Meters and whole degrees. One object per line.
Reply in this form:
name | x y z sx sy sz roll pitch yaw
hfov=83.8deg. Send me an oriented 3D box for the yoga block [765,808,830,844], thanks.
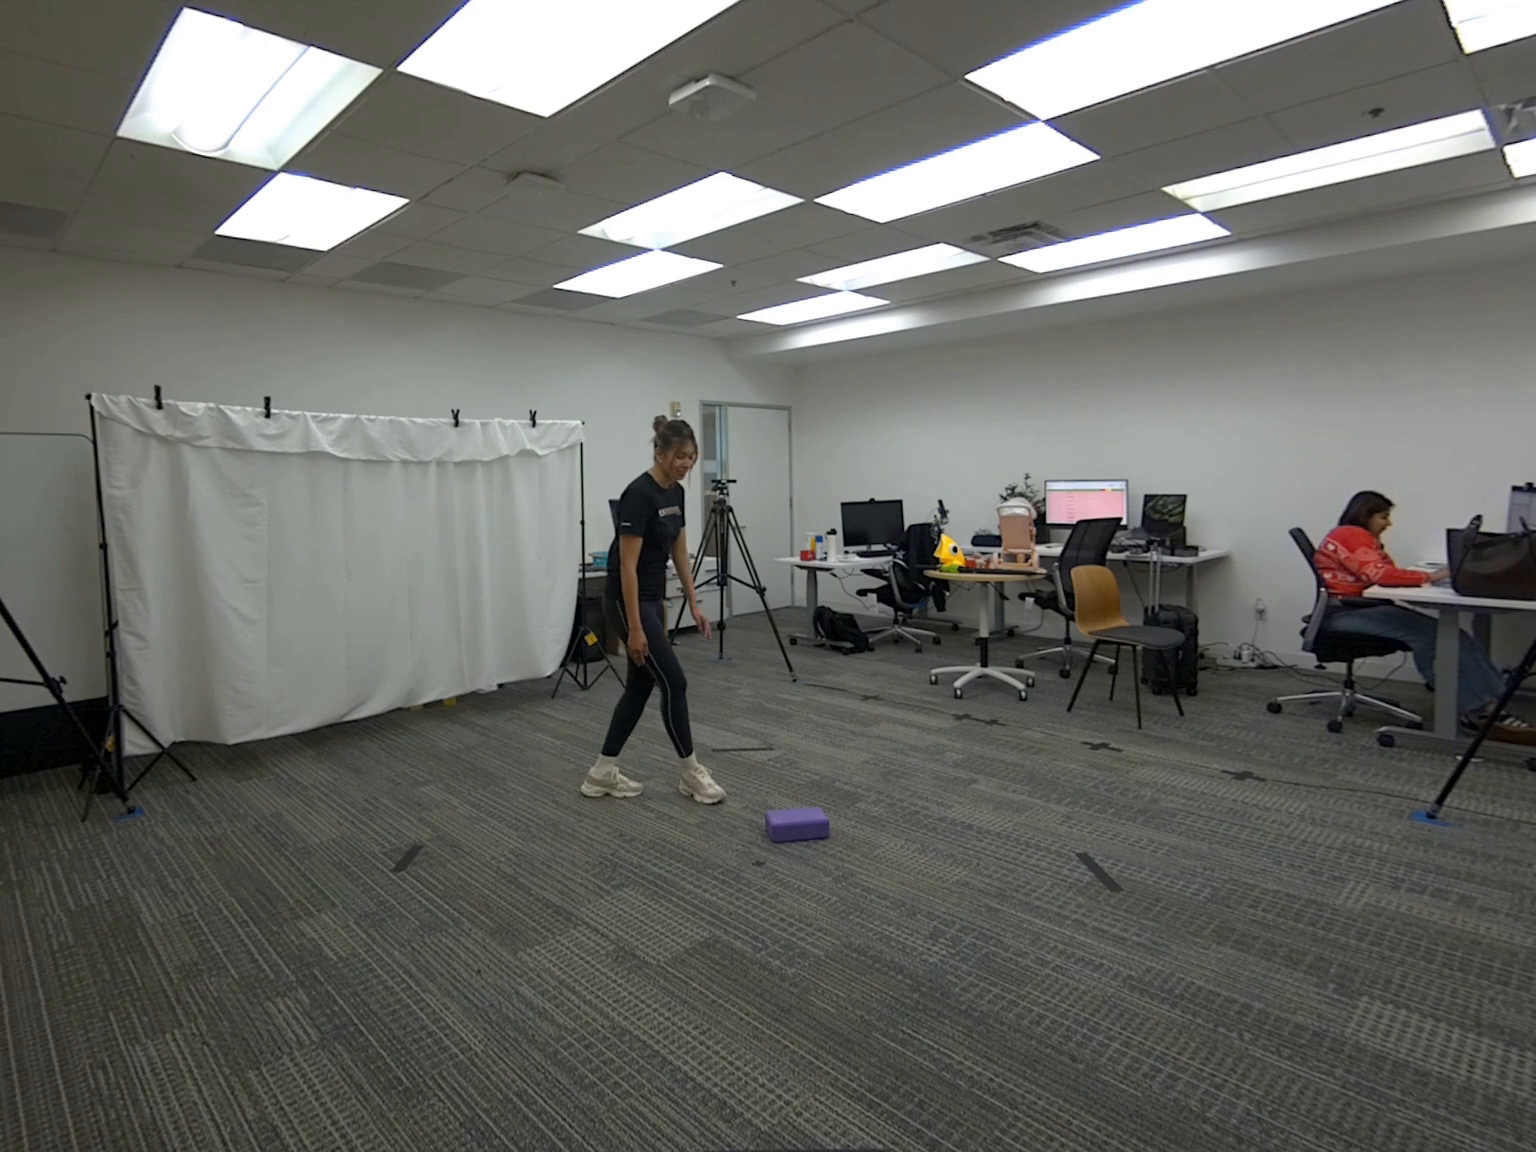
yoga block | 0.115 0.978 3.360 0.227 0.076 0.151 -2 7 -10
